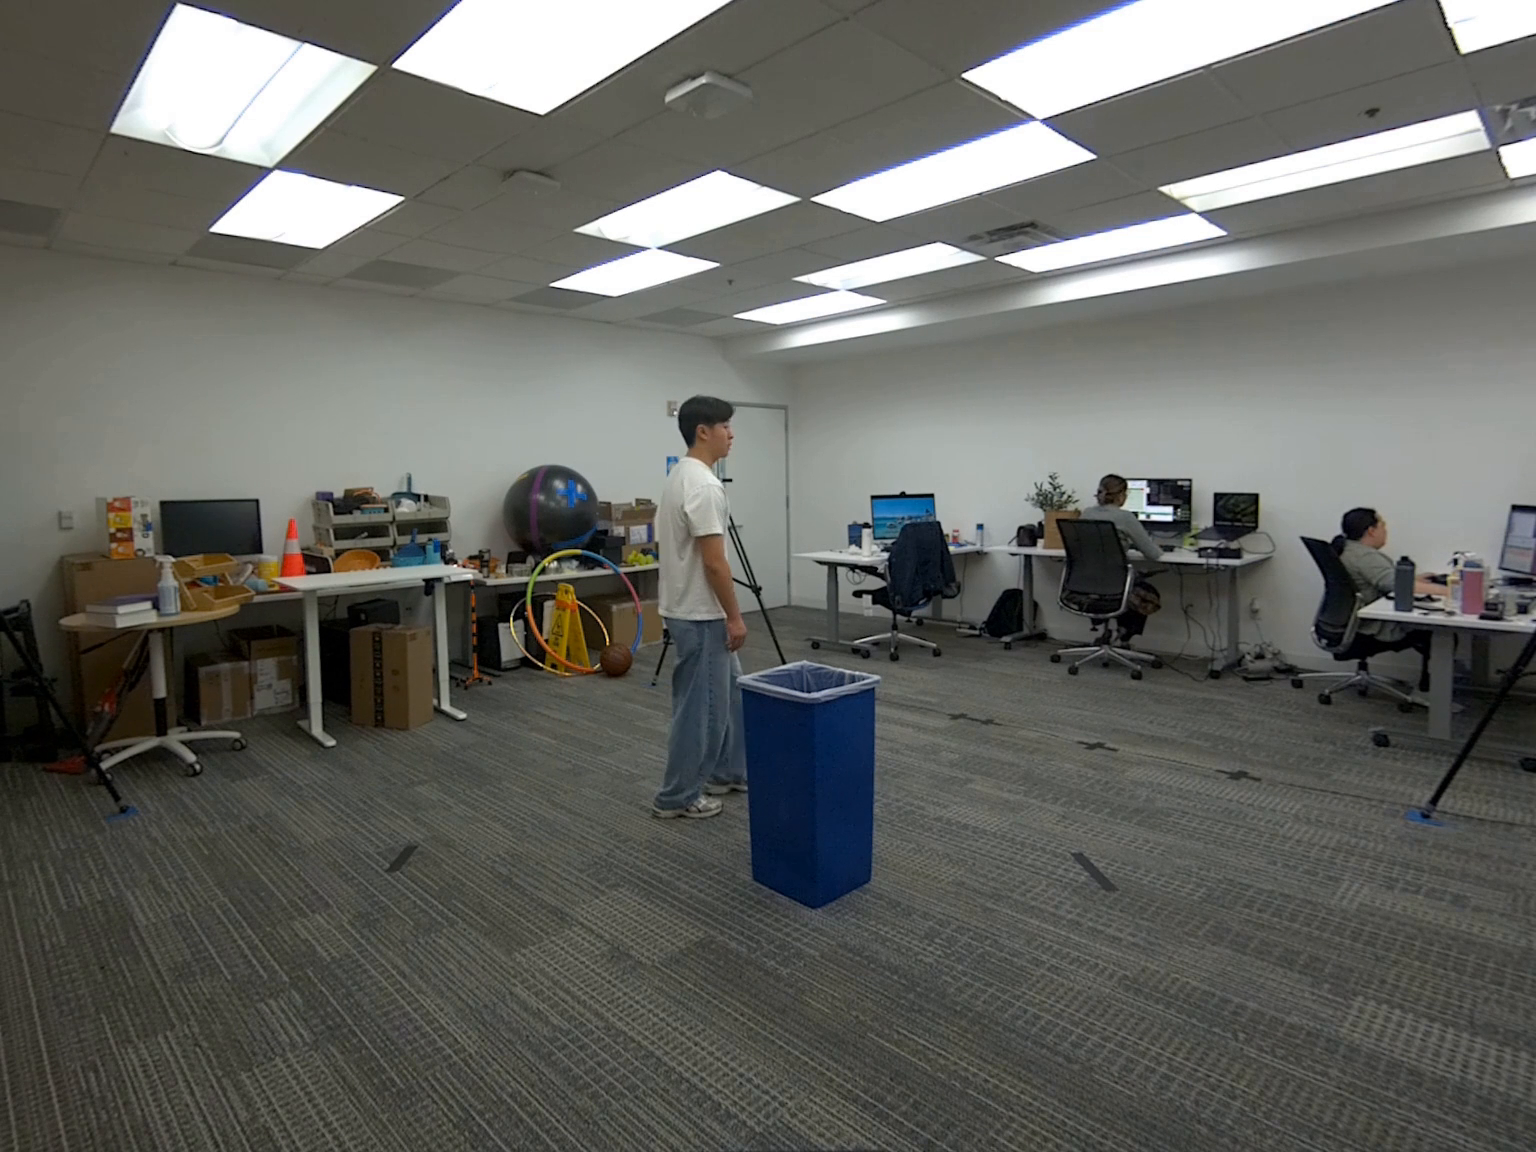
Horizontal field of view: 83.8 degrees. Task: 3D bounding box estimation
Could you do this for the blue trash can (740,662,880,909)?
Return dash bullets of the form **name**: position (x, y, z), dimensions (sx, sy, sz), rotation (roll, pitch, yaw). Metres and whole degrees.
- **blue trash can**: position (0.146, 0.701, 2.942), dimensions (0.364, 0.711, 0.389), rotation (-4, 5, -44)
